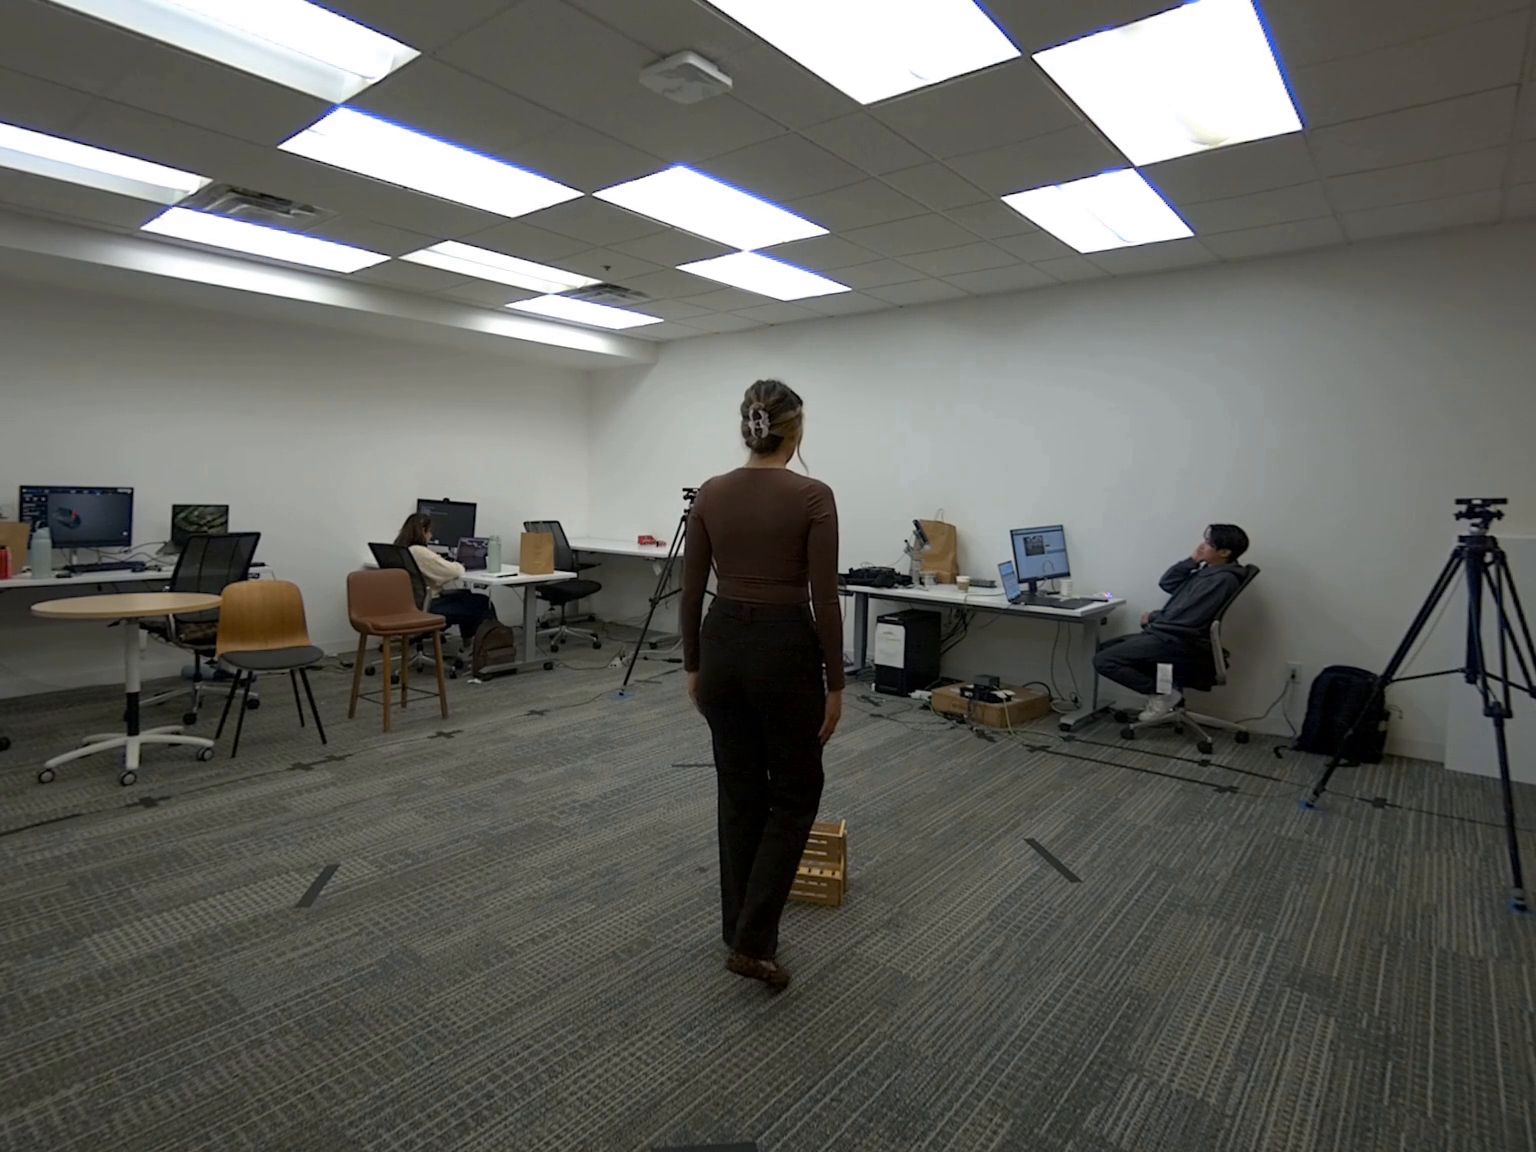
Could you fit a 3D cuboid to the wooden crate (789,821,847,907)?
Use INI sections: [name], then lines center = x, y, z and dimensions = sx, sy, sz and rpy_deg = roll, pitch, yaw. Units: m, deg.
[wooden crate]
center = 0.111, 0.955, 2.977
dimensions = 0.329, 0.272, 0.299
rpy_deg = 2, 5, 11
